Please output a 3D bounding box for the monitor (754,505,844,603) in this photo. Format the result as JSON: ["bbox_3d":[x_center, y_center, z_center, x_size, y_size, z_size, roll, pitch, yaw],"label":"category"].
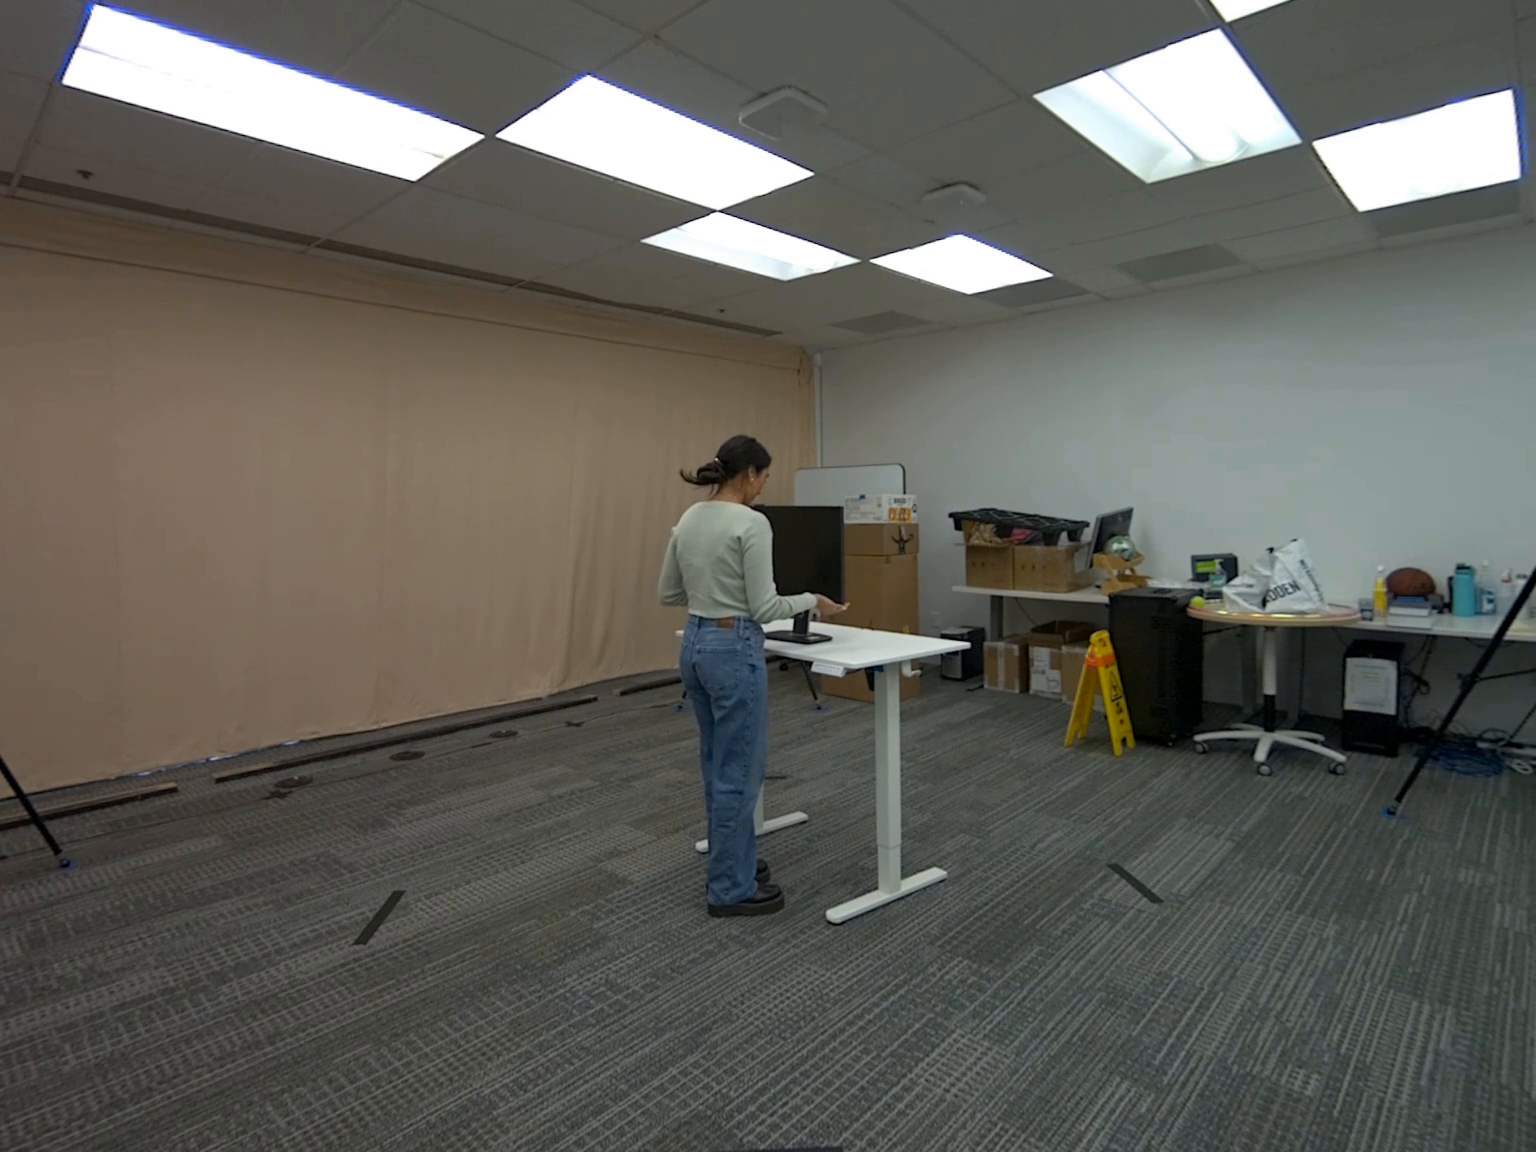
[{"bbox_3d":[0.105,-0.004,3.182,0.182,0.520,0.557,-9,8,-40],"label":"monitor"}]
